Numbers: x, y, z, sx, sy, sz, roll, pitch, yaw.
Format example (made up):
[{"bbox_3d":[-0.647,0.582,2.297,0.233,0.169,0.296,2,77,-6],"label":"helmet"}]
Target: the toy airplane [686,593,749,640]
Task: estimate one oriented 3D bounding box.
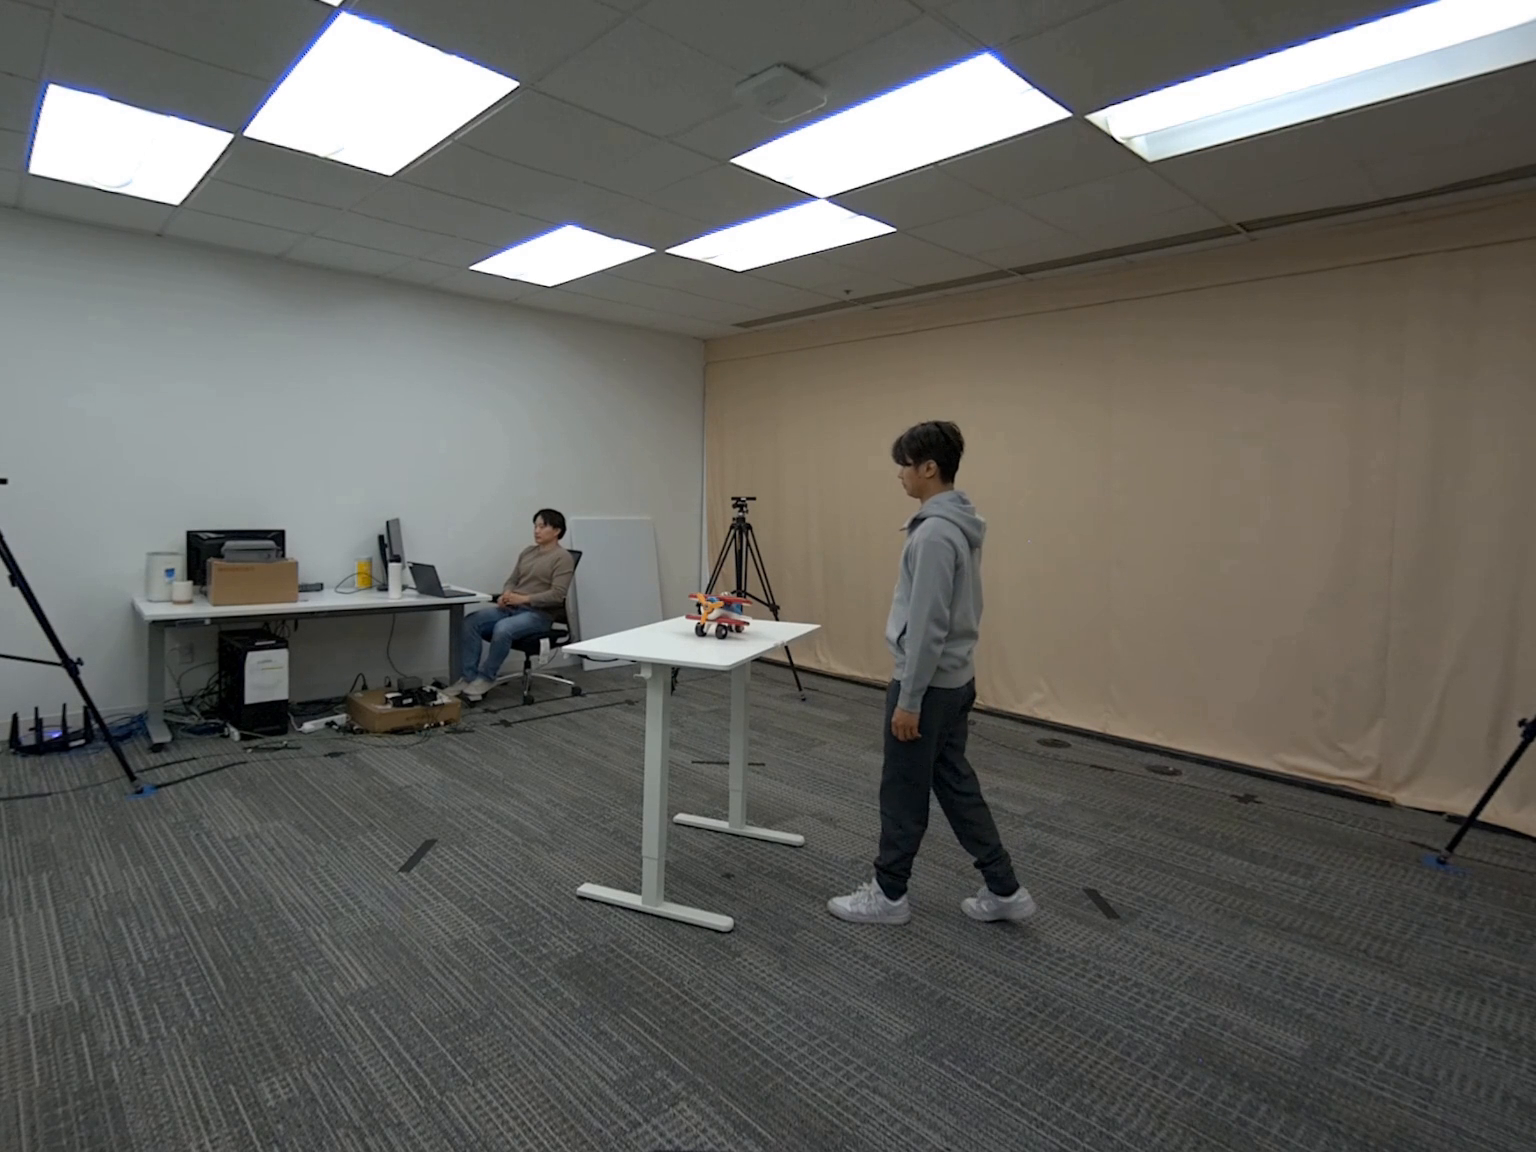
[{"bbox_3d":[-0.191,0.144,3.143,0.251,0.156,0.260,3,5,0],"label":"toy airplane"}]
